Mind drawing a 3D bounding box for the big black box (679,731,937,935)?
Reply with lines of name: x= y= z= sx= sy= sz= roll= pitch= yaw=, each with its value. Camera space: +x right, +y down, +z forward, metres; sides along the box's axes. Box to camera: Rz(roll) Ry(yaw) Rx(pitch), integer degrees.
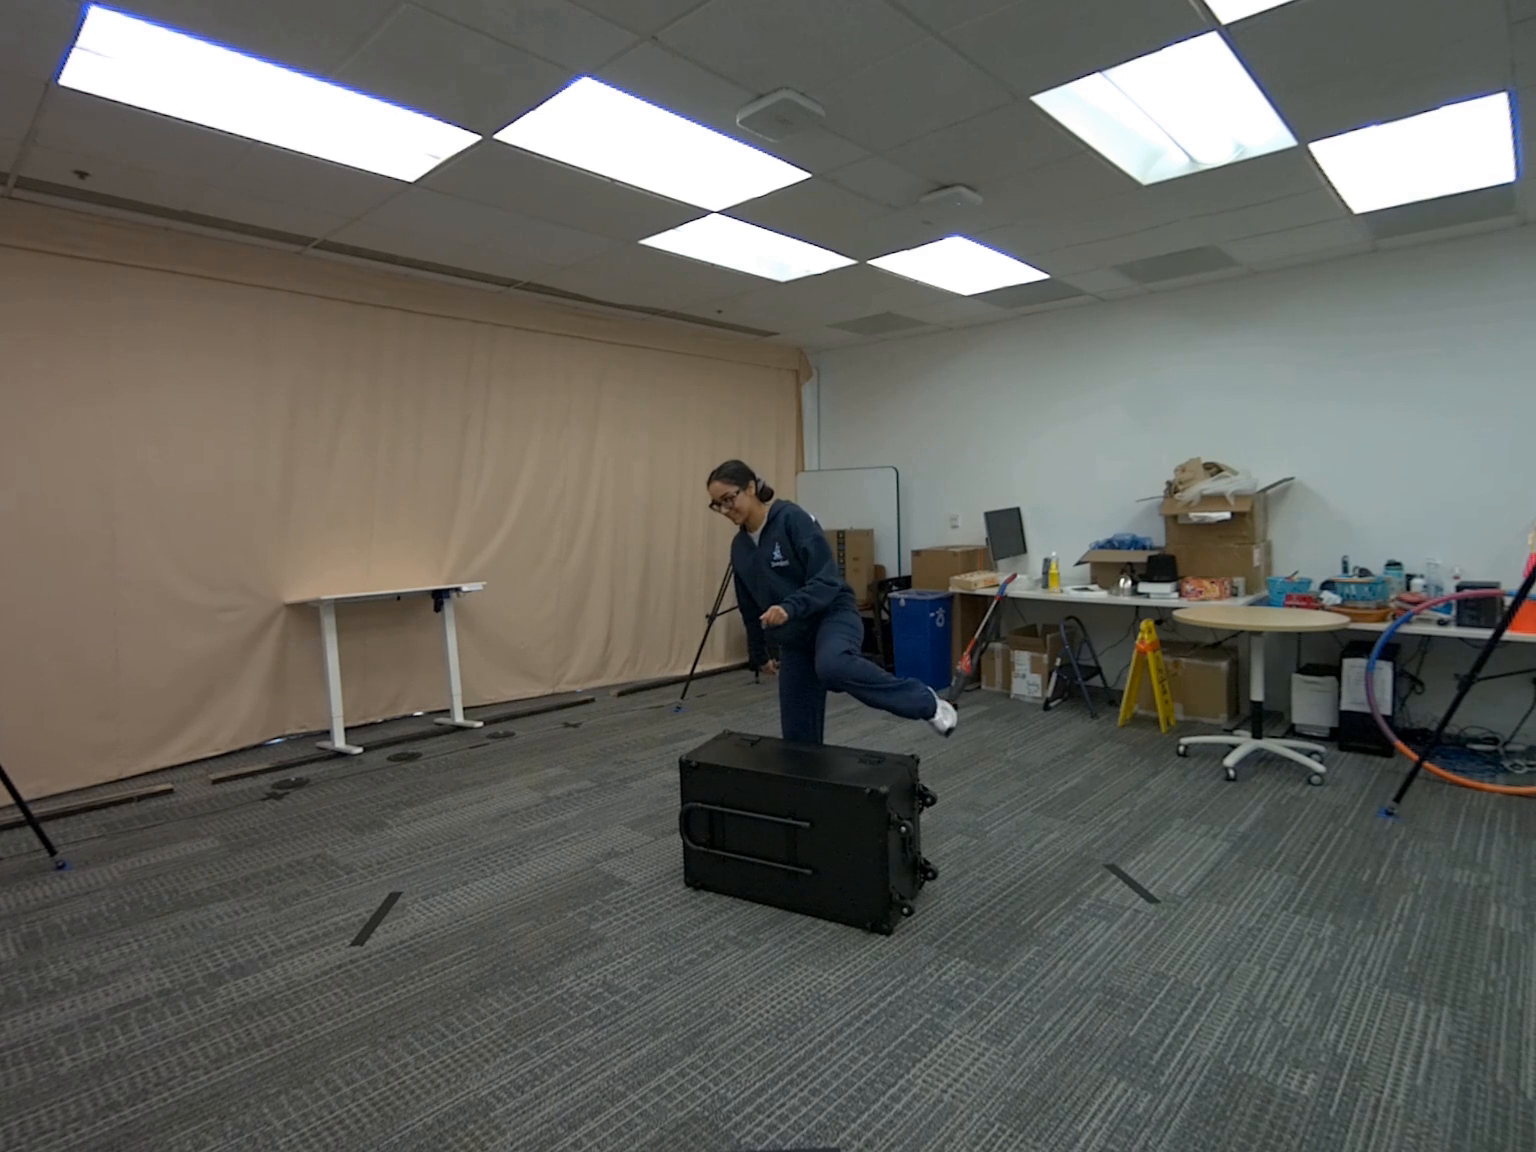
big black box: x=0.136 y=0.882 z=2.996 sx=0.885 sy=0.519 sz=0.387 roll=1 pitch=7 yaw=28
